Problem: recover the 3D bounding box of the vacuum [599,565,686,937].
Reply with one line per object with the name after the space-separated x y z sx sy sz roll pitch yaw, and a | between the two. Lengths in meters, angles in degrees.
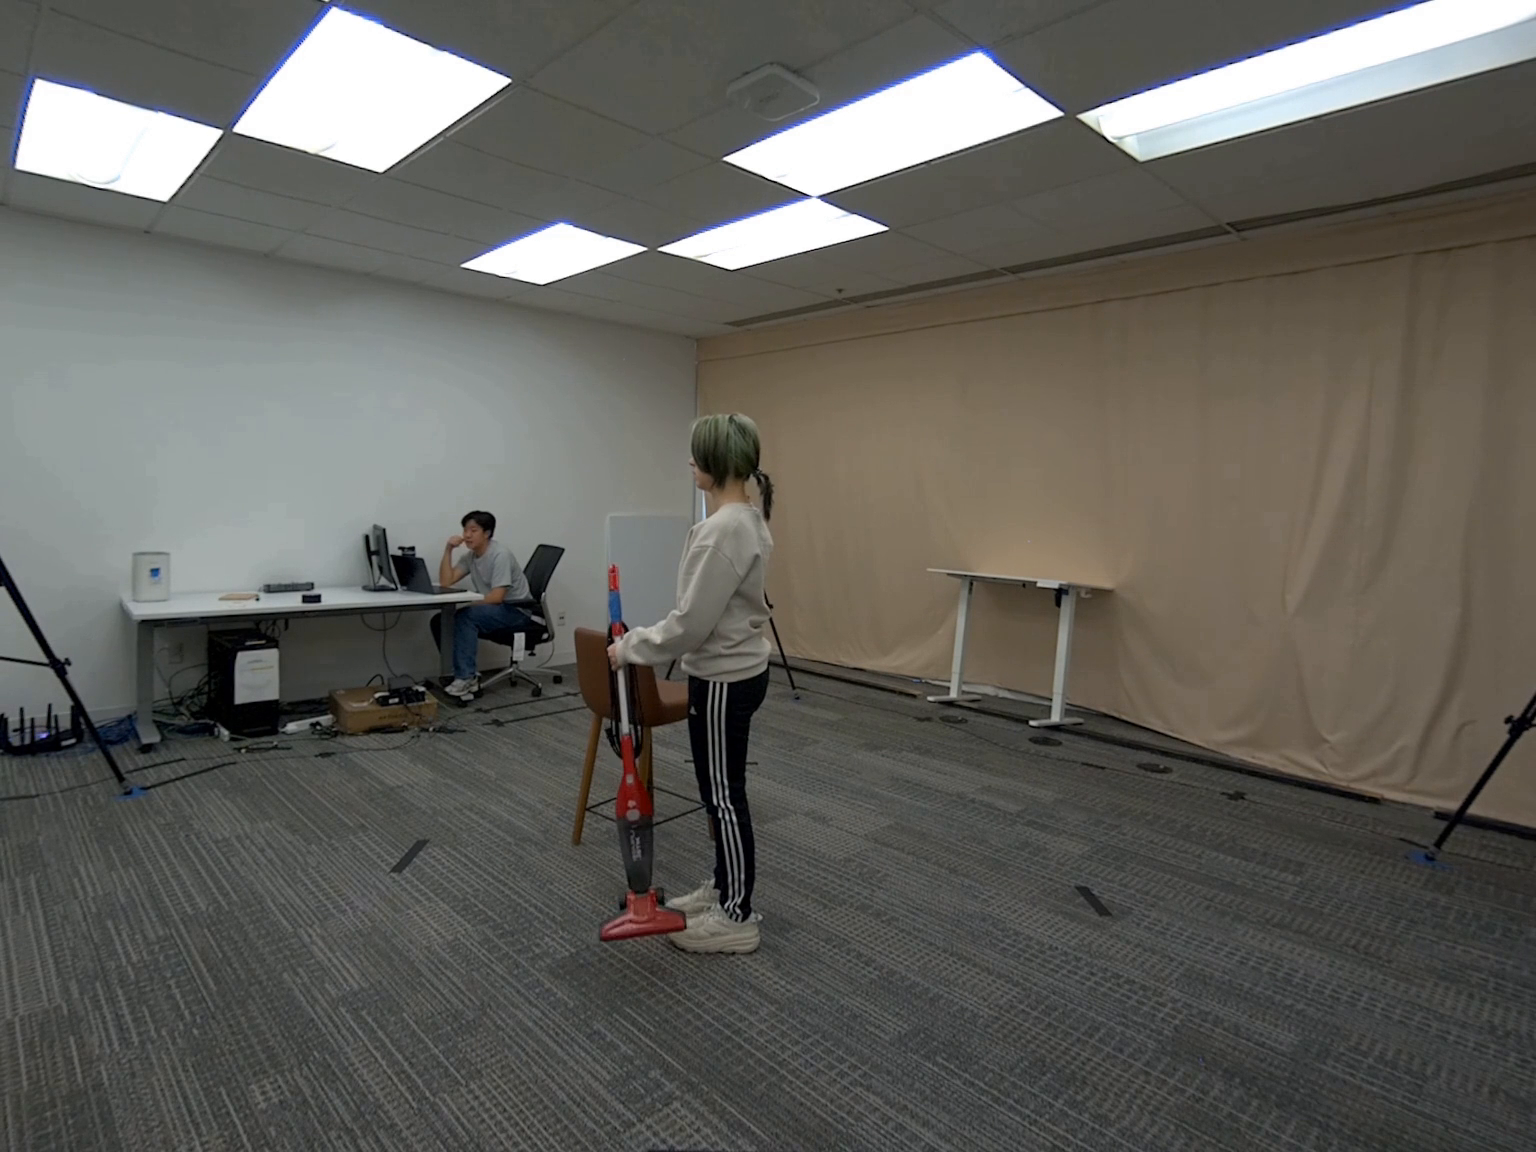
-0.443 0.482 2.588 0.250 1.060 0.144 -6 -12 -13 | vacuum
